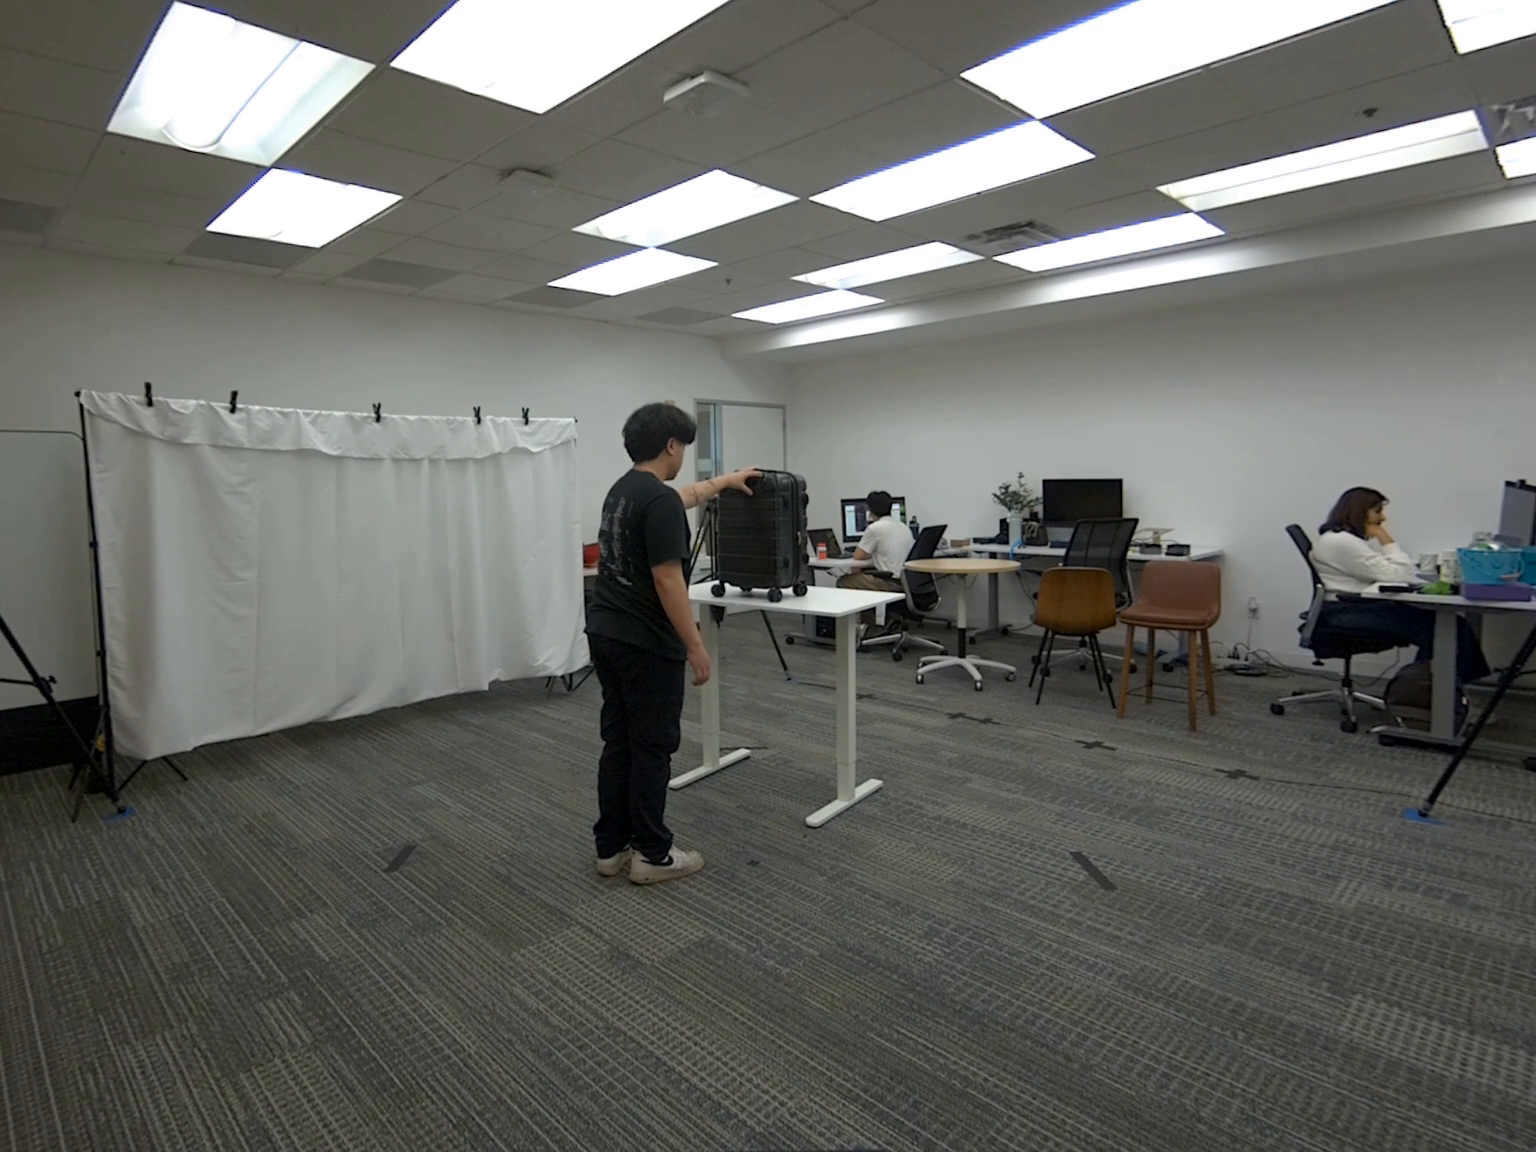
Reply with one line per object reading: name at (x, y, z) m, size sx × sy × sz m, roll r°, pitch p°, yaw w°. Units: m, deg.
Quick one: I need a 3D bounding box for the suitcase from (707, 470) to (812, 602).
suitcase at (-0.027, -0.187, 3.733) m, size 0.386 × 0.548 × 0.242 m, roll 3°, pitch 4°, yaw 37°
